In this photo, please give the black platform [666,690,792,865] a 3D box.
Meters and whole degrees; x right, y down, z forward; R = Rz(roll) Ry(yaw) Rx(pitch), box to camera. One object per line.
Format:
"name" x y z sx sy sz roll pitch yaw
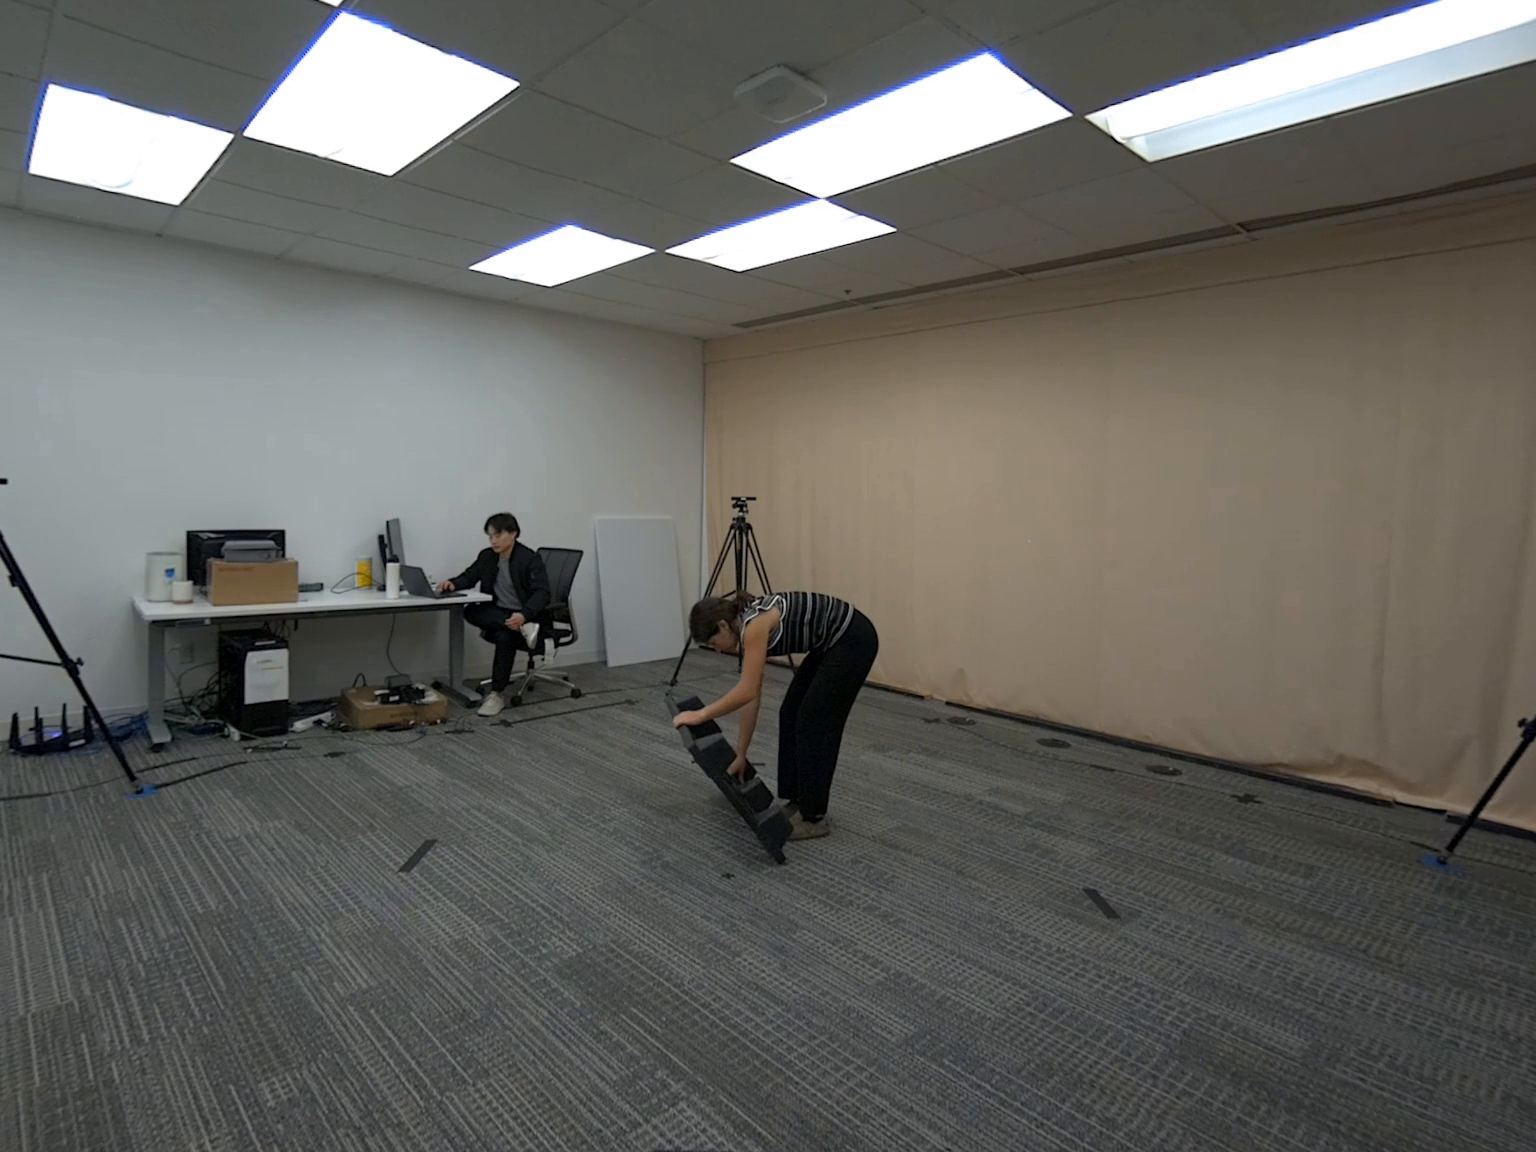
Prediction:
"black platform" -0.182 0.790 3.545 0.143 0.599 0.815 -38 11 -7
